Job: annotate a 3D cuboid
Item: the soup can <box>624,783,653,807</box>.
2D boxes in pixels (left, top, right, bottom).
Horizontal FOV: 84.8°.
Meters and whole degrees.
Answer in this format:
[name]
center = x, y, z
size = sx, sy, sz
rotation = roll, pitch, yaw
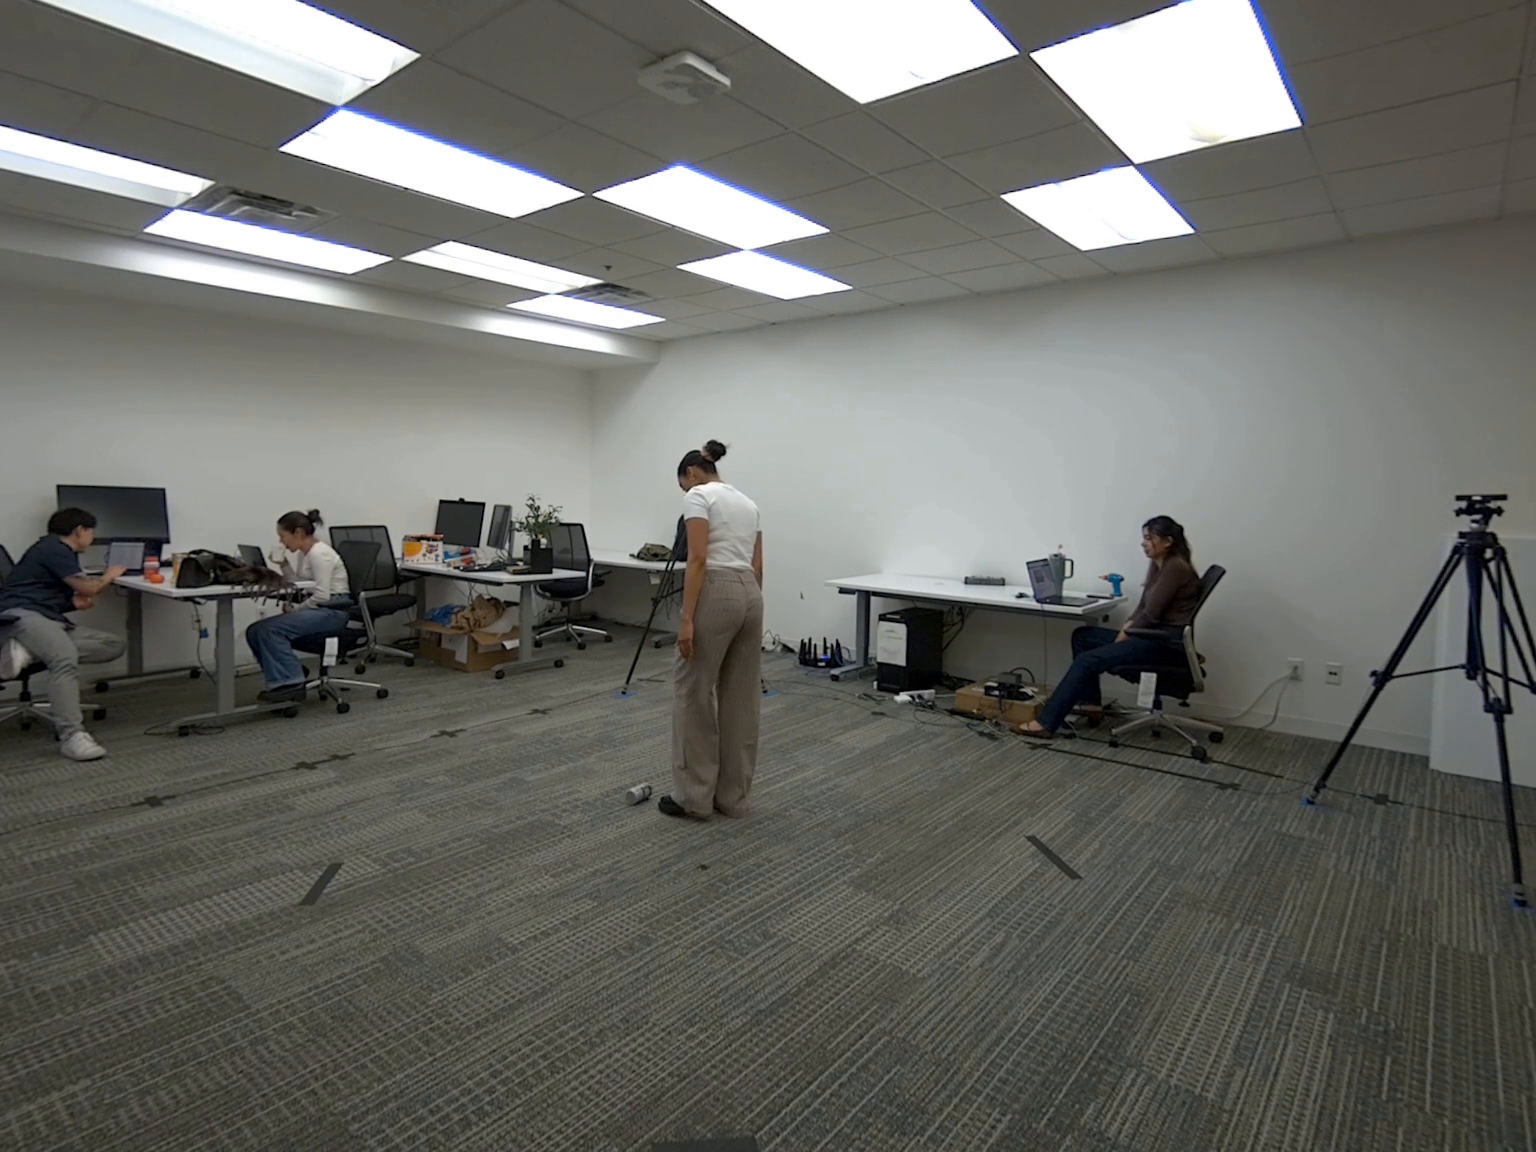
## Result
[soup can]
center = -0.578, 0.960, 3.785
size = 0.069, 0.067, 0.118
rotation = 3, 6, 31
